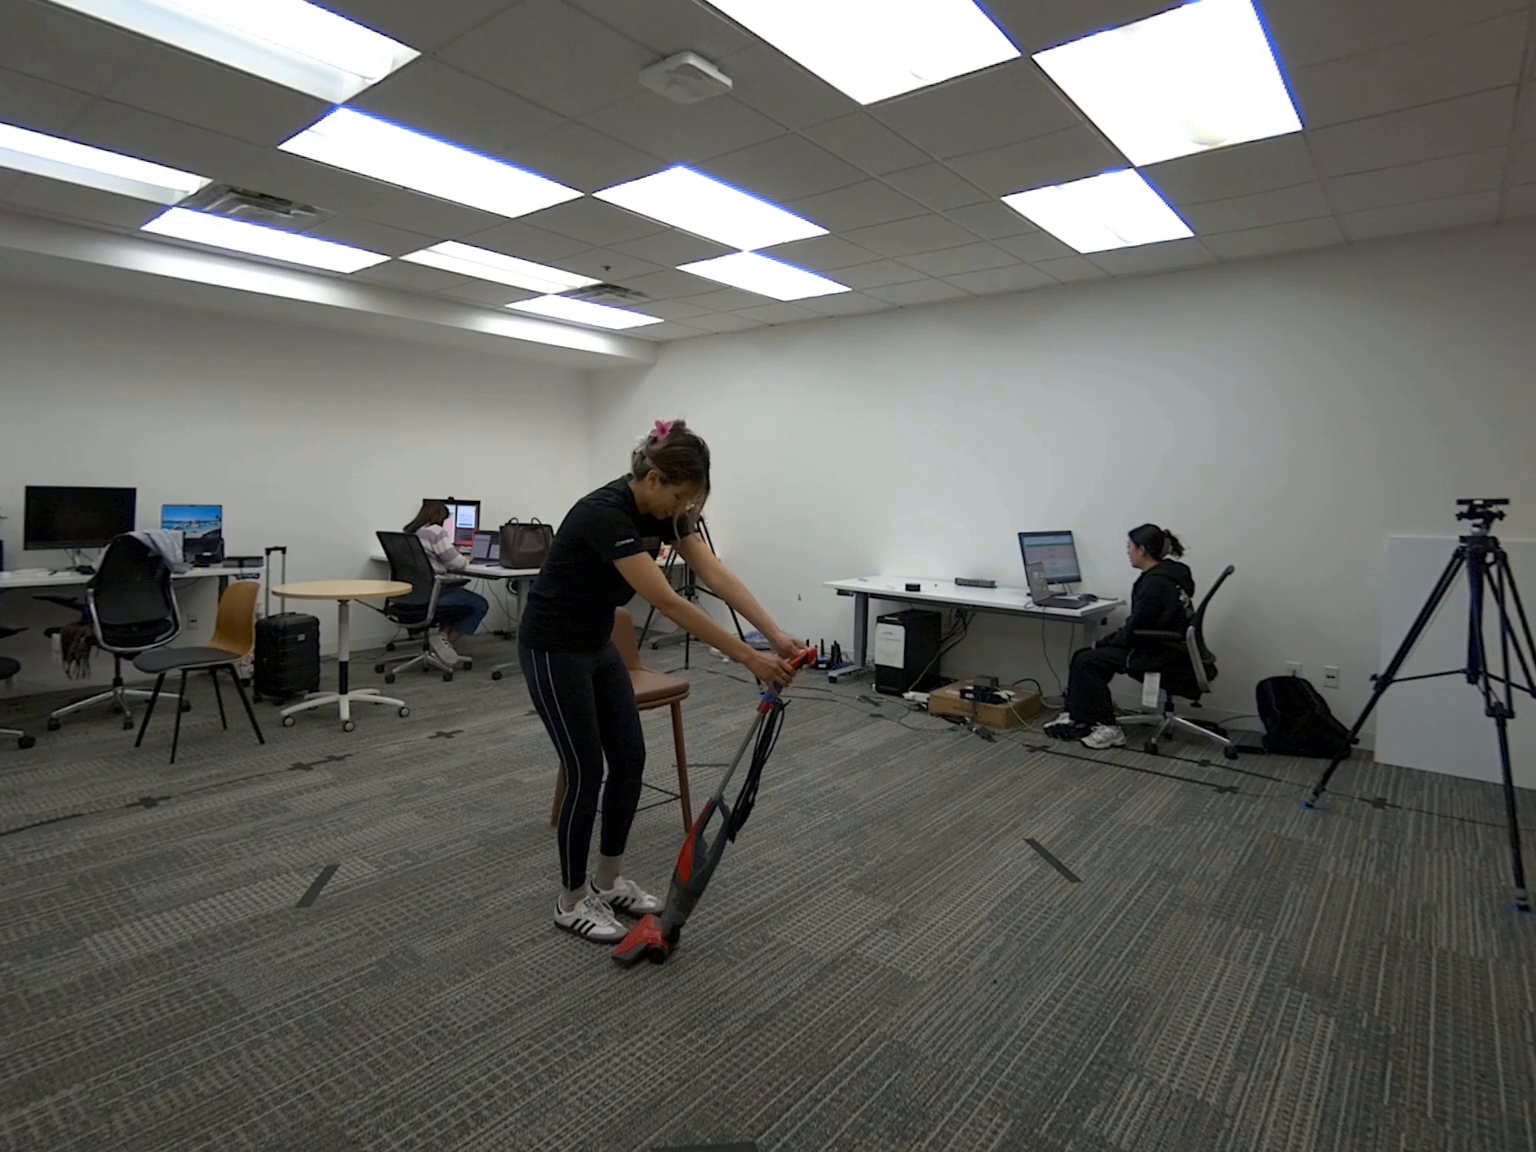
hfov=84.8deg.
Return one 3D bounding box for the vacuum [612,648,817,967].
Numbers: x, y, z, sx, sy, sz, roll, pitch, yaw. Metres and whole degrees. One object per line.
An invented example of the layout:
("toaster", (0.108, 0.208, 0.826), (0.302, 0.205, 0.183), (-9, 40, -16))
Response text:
("vacuum", (-0.123, 0.661, 2.447), (0.149, 1.045, 0.246), (33, 12, 23))
